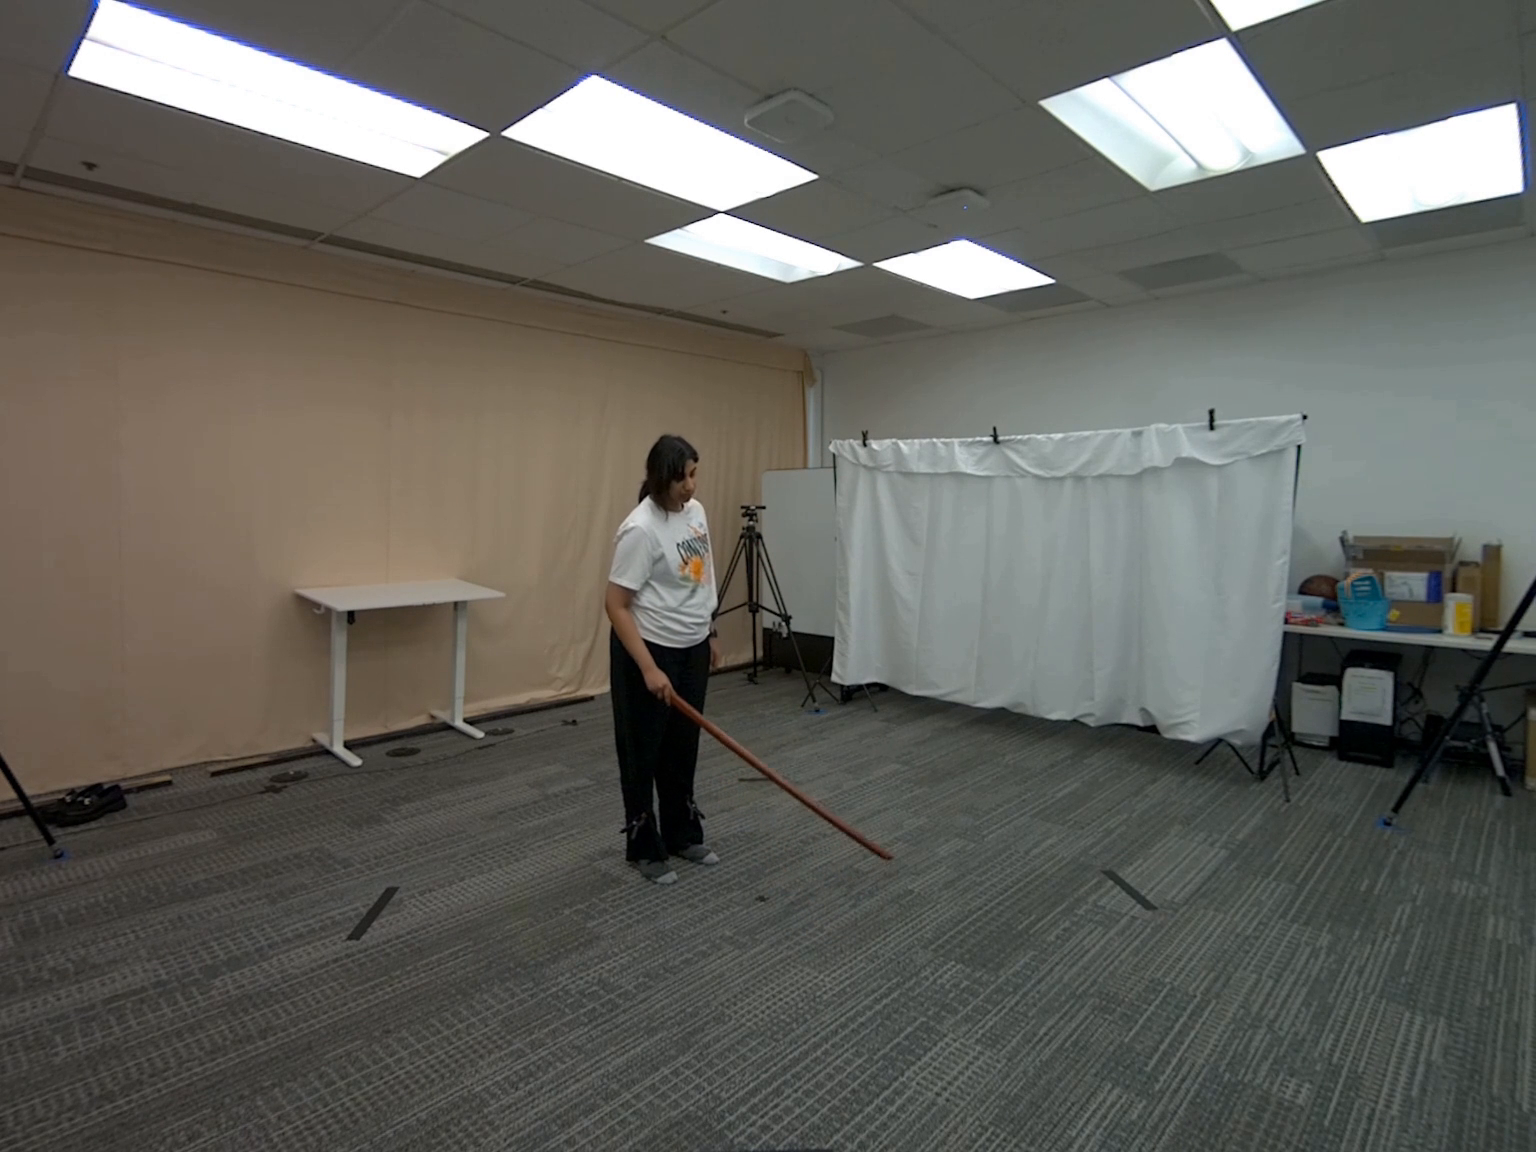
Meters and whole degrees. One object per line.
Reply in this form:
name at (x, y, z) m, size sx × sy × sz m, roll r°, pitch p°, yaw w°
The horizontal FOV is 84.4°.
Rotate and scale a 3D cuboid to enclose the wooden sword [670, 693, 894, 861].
wooden sword at (-0.006, 0.652, 2.843) m, size 1.051 × 0.051 × 0.023 m, roll 31°, pitch -15°, yaw 21°
